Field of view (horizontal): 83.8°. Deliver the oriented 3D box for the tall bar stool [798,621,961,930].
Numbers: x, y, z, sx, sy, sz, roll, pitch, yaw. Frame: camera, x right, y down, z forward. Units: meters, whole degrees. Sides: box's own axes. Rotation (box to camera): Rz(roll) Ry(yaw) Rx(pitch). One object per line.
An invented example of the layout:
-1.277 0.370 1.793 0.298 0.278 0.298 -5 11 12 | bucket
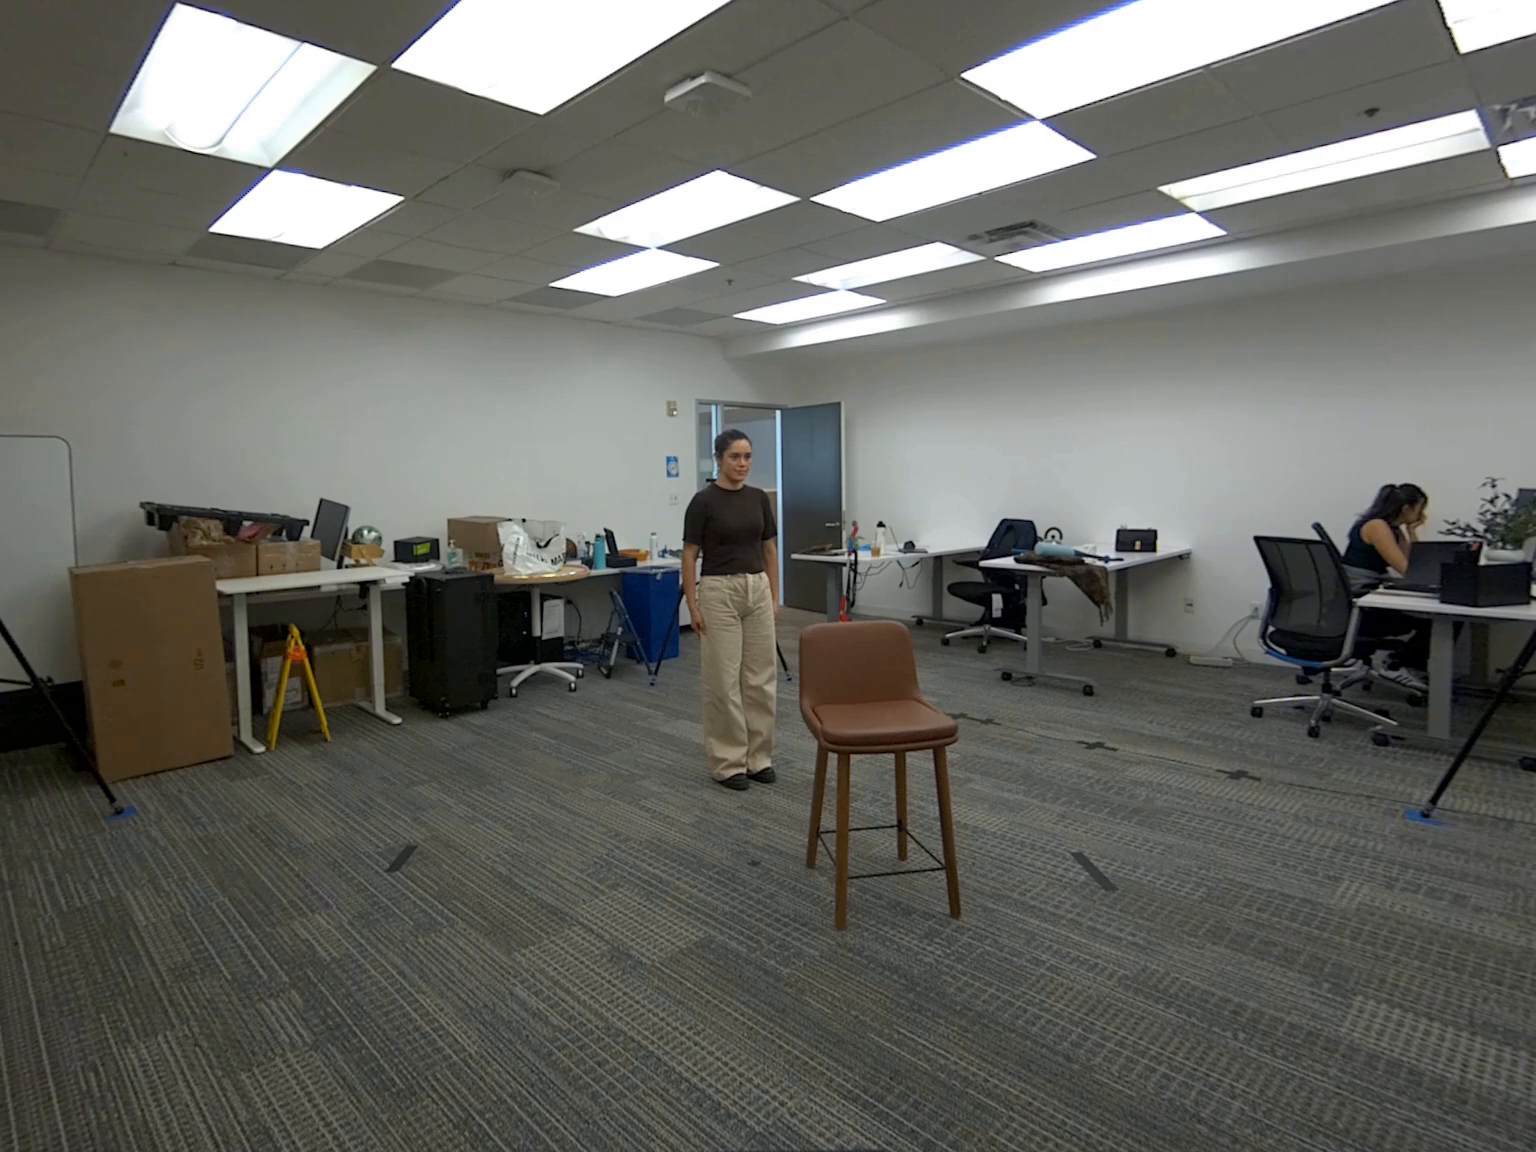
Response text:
0.358 0.628 2.868 0.452 0.888 0.473 -1 2 -10 | tall bar stool
